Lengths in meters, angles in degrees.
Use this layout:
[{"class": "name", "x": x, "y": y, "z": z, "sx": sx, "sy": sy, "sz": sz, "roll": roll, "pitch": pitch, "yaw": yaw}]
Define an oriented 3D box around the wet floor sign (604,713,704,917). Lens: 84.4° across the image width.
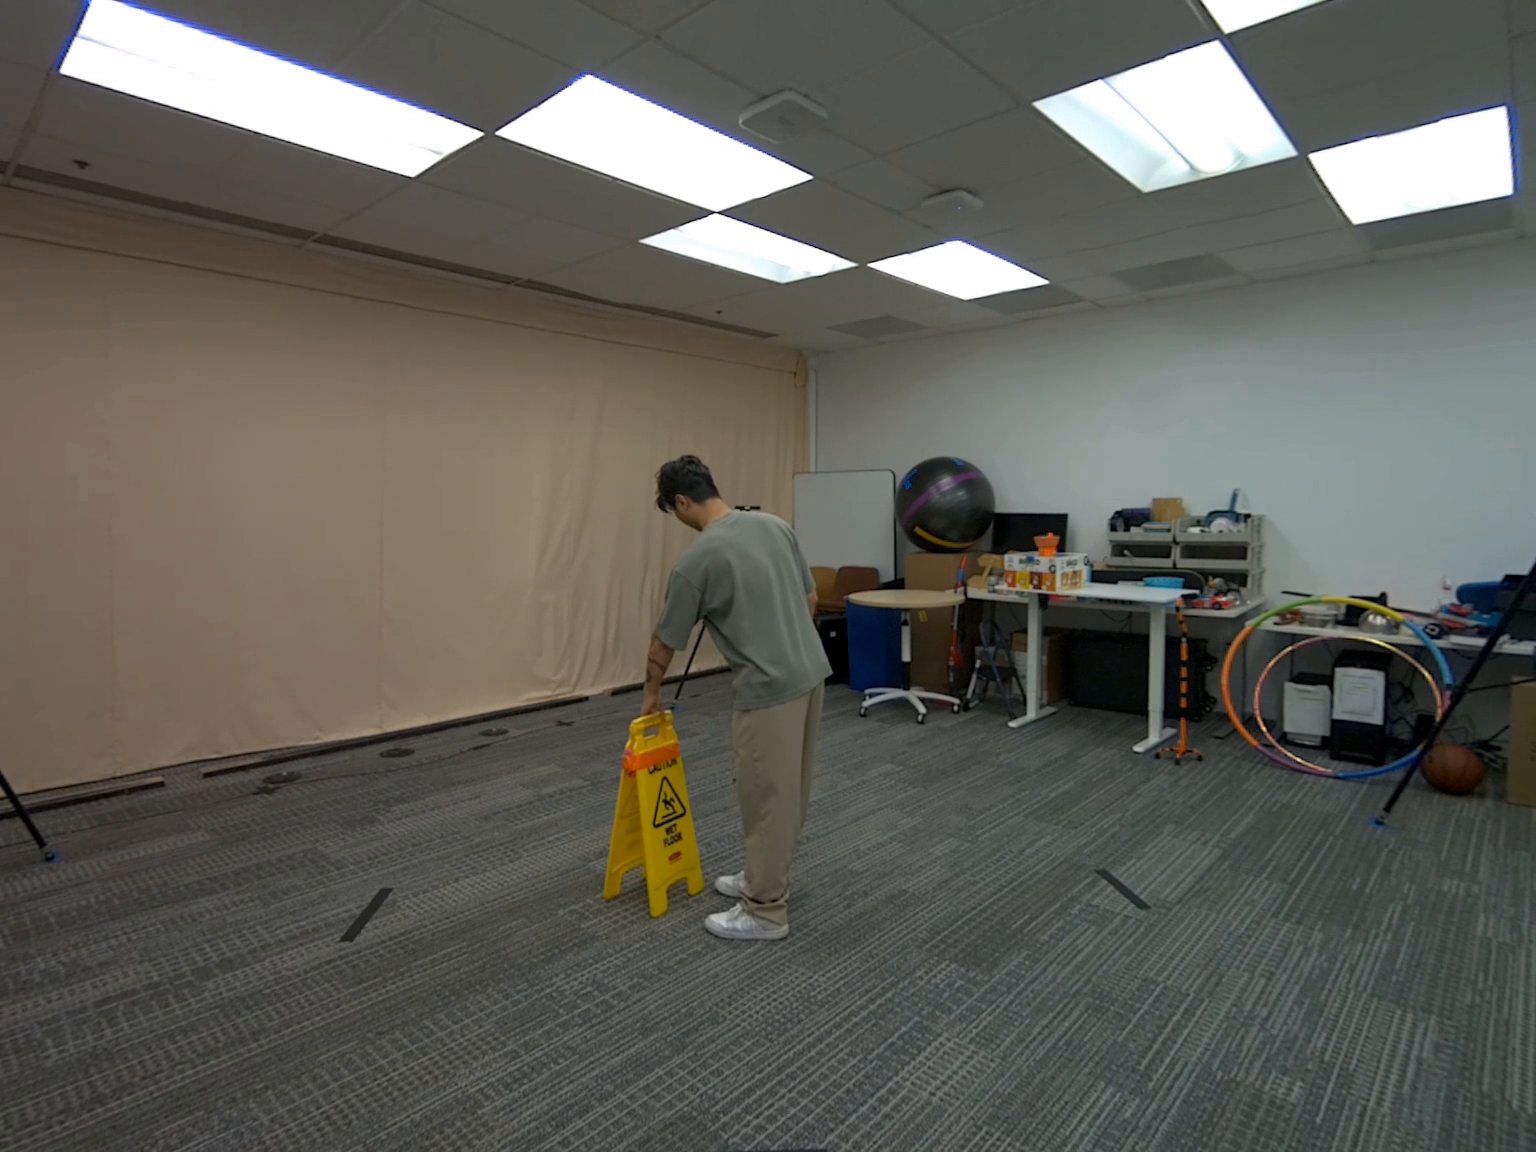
[{"class": "wet floor sign", "x": -0.408, "y": 0.822, "z": 3.010, "sx": 0.299, "sy": 0.645, "sz": 0.274, "roll": 1, "pitch": 4, "yaw": 37}]
